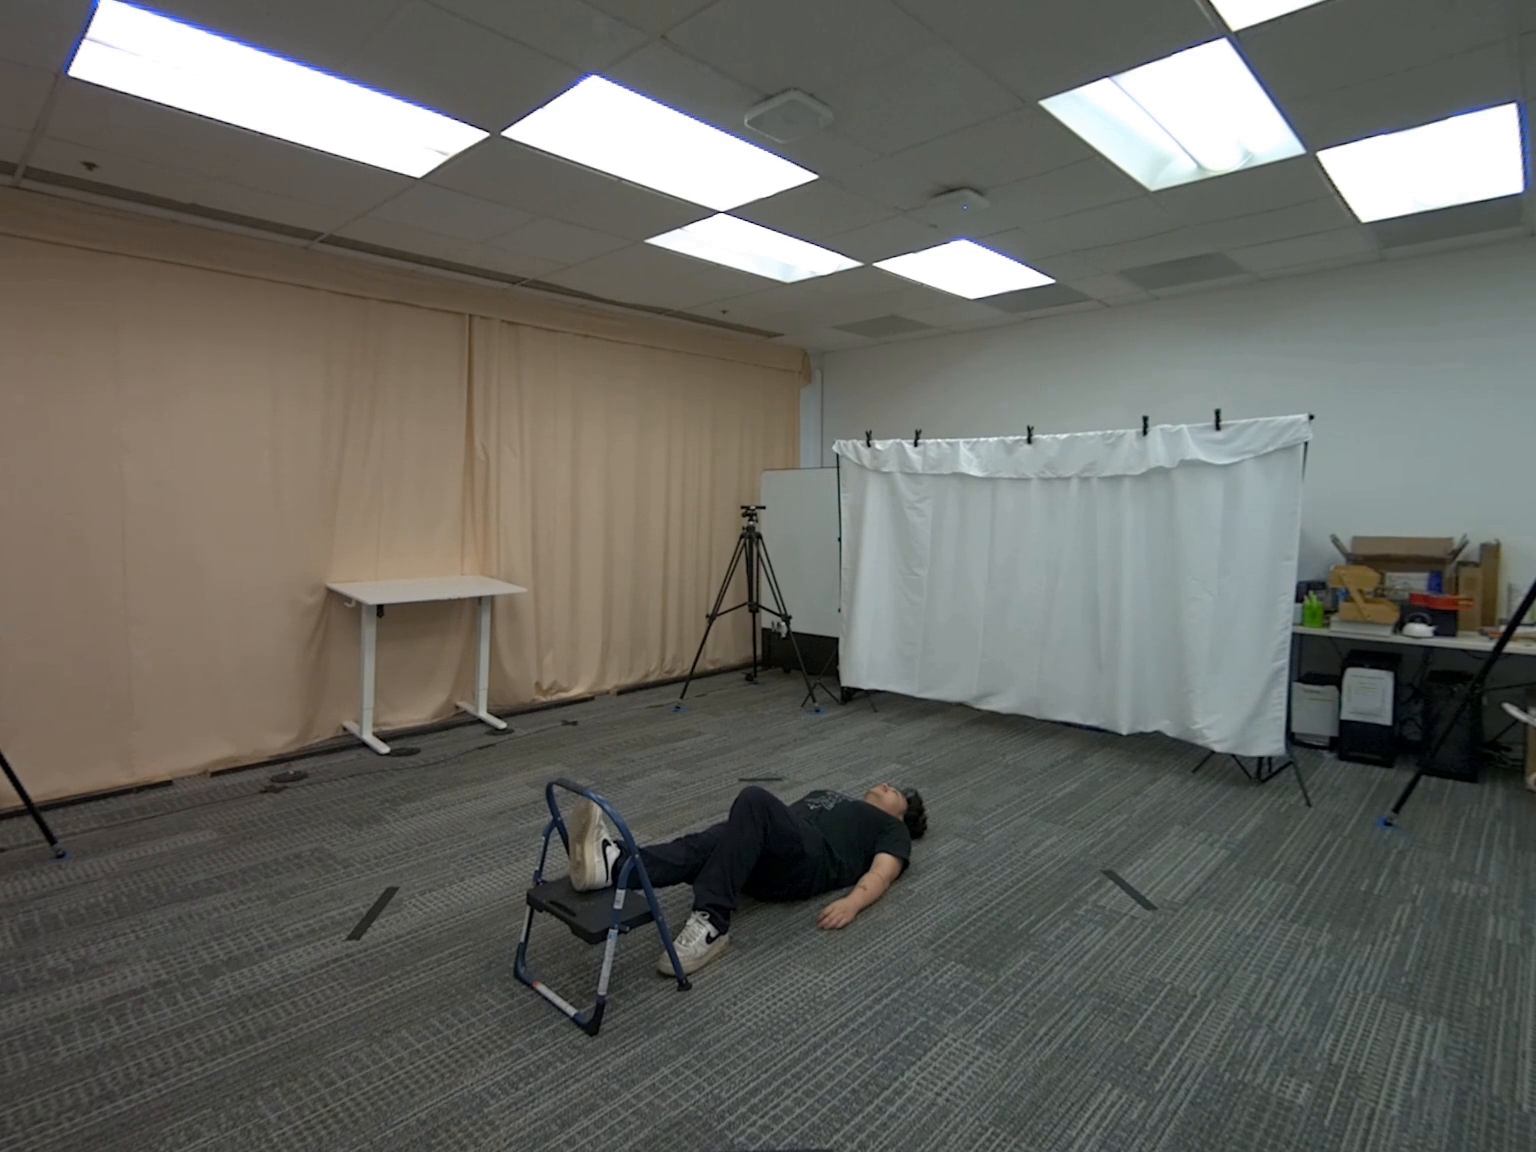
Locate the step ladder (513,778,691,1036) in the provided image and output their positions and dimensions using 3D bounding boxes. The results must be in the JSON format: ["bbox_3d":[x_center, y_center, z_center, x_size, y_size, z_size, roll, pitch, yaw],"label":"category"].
[{"bbox_3d":[-0.497,0.894,2.450,0.445,0.605,0.338,2,4,44],"label":"step ladder"}]
